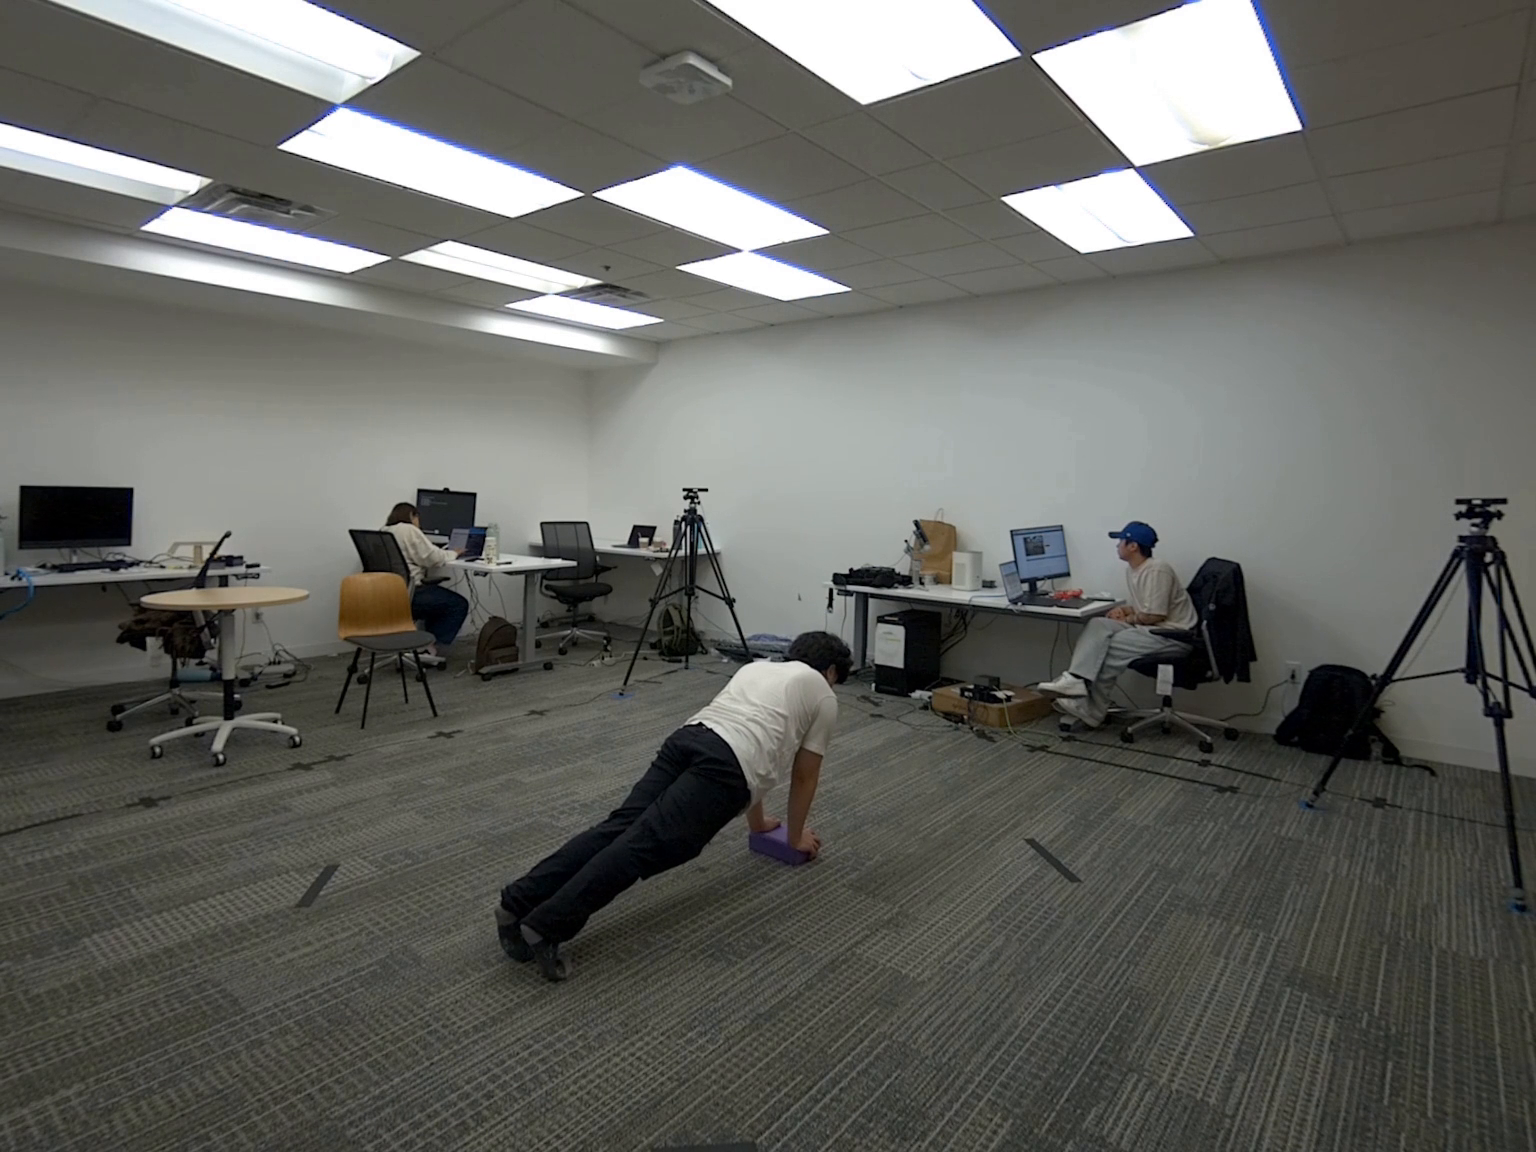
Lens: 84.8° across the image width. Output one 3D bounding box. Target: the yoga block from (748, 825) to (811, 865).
[{"bbox_3d":[0.046,1.021,3.278,0.237,0.076,0.144,5,5,39],"label":"yoga block"}]
